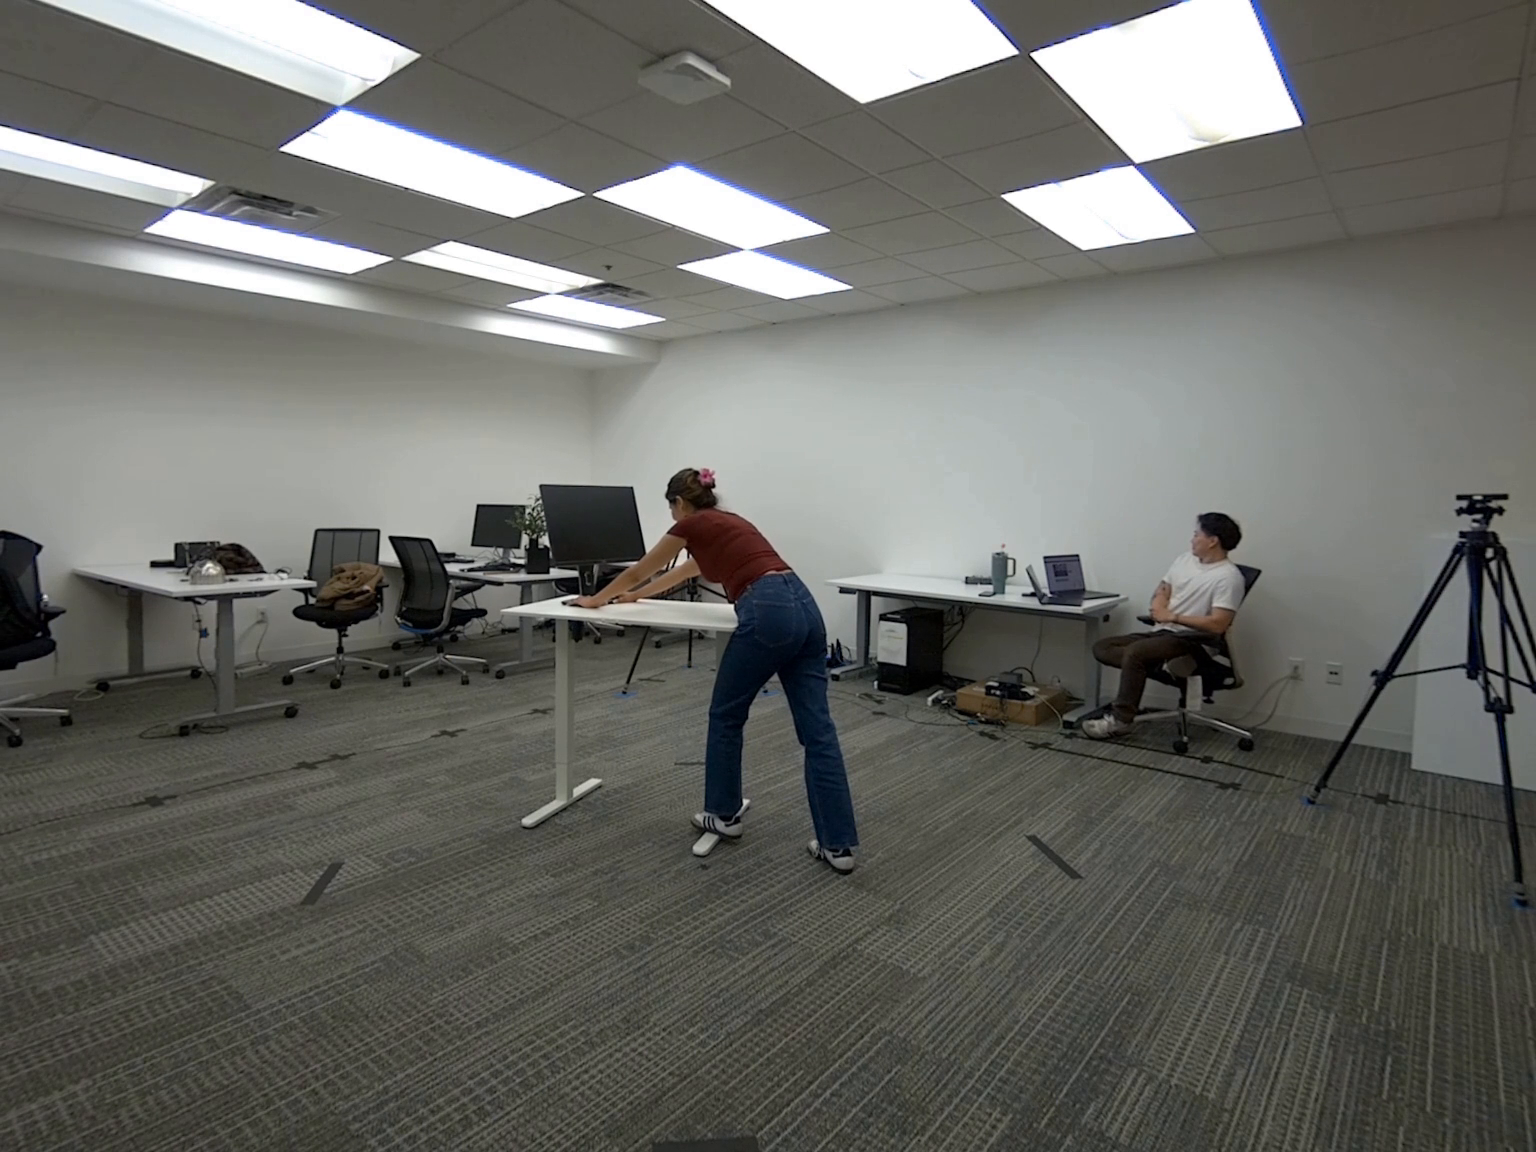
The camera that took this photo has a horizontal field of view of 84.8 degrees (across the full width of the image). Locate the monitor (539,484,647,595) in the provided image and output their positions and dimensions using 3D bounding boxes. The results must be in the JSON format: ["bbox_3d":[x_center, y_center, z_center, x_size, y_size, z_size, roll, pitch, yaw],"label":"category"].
[{"bbox_3d":[-0.784,-0.140,3.721,0.192,0.522,0.524,0,2,32],"label":"monitor"}]
